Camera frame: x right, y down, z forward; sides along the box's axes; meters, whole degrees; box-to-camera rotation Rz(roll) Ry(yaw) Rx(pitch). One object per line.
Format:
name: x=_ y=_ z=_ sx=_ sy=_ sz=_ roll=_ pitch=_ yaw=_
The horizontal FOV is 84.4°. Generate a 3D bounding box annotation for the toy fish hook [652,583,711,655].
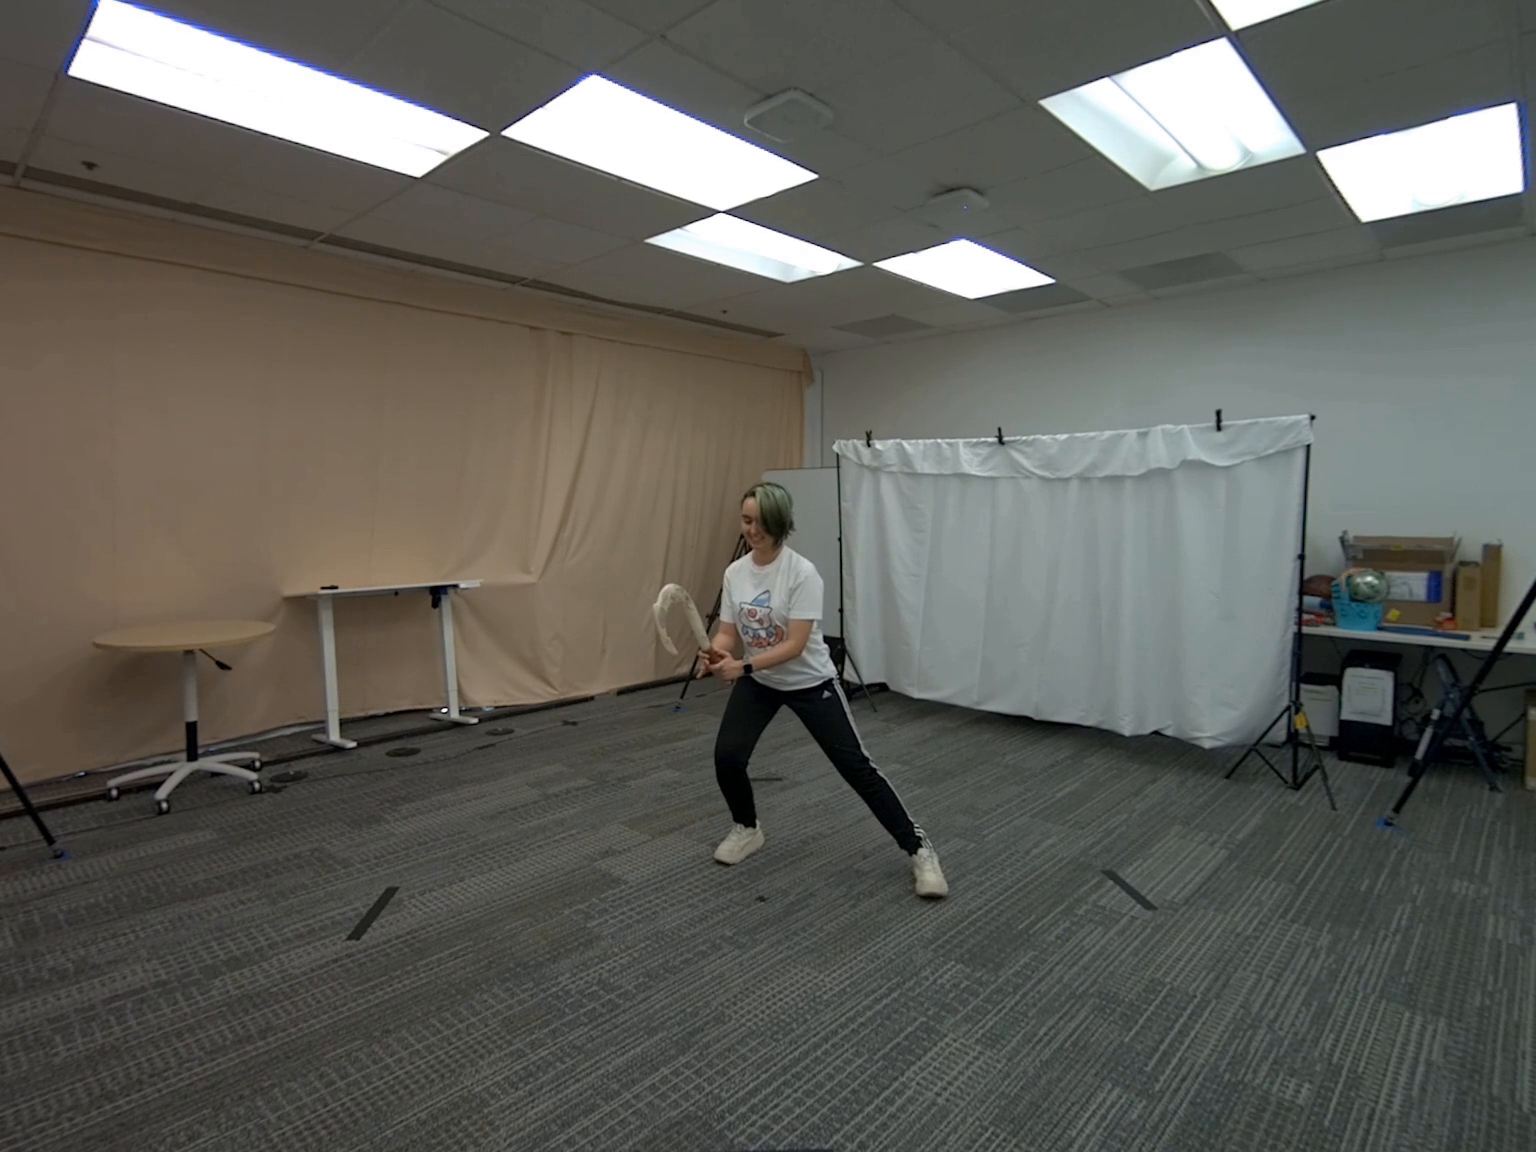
toy fish hook: x=-0.255 y=0.247 z=2.939 sx=0.050 sy=0.492 sz=0.224 roll=-2 pitch=41 yaw=37
